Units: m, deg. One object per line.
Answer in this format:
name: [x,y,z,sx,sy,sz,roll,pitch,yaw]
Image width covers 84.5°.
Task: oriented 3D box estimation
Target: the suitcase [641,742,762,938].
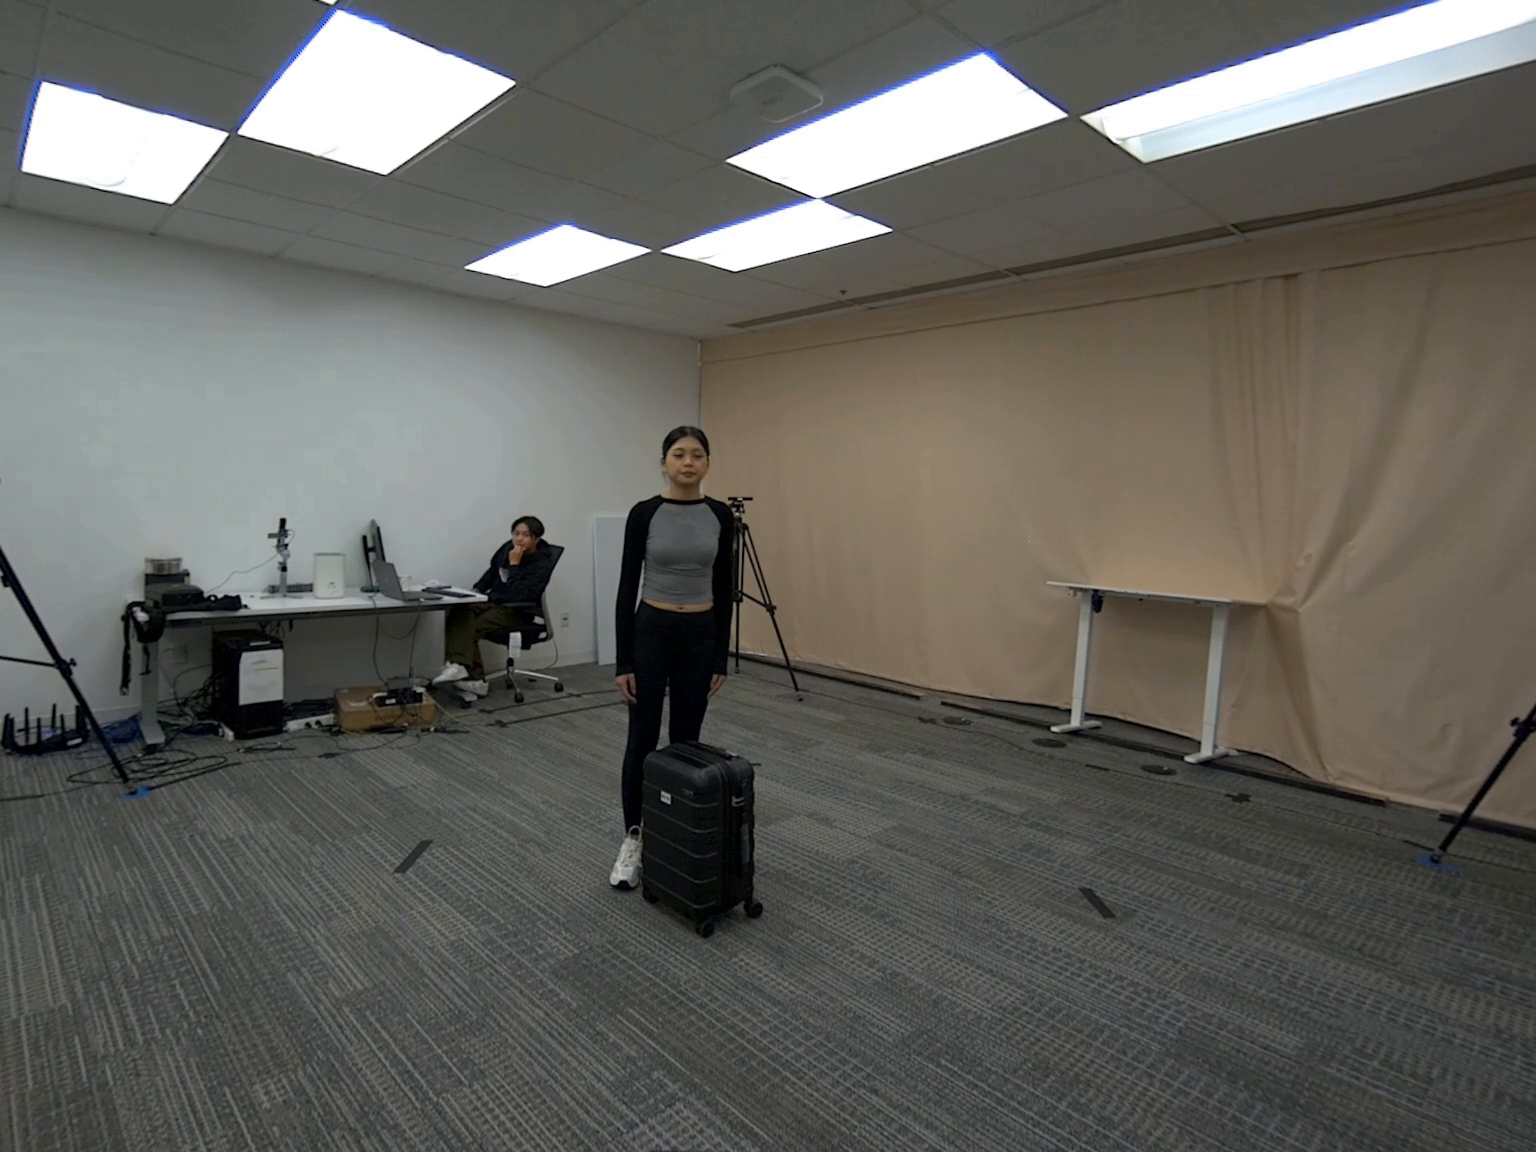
suitcase: [-0.238,0.858,2.822,0.243,0.548,0.385,-4,5,-43]
